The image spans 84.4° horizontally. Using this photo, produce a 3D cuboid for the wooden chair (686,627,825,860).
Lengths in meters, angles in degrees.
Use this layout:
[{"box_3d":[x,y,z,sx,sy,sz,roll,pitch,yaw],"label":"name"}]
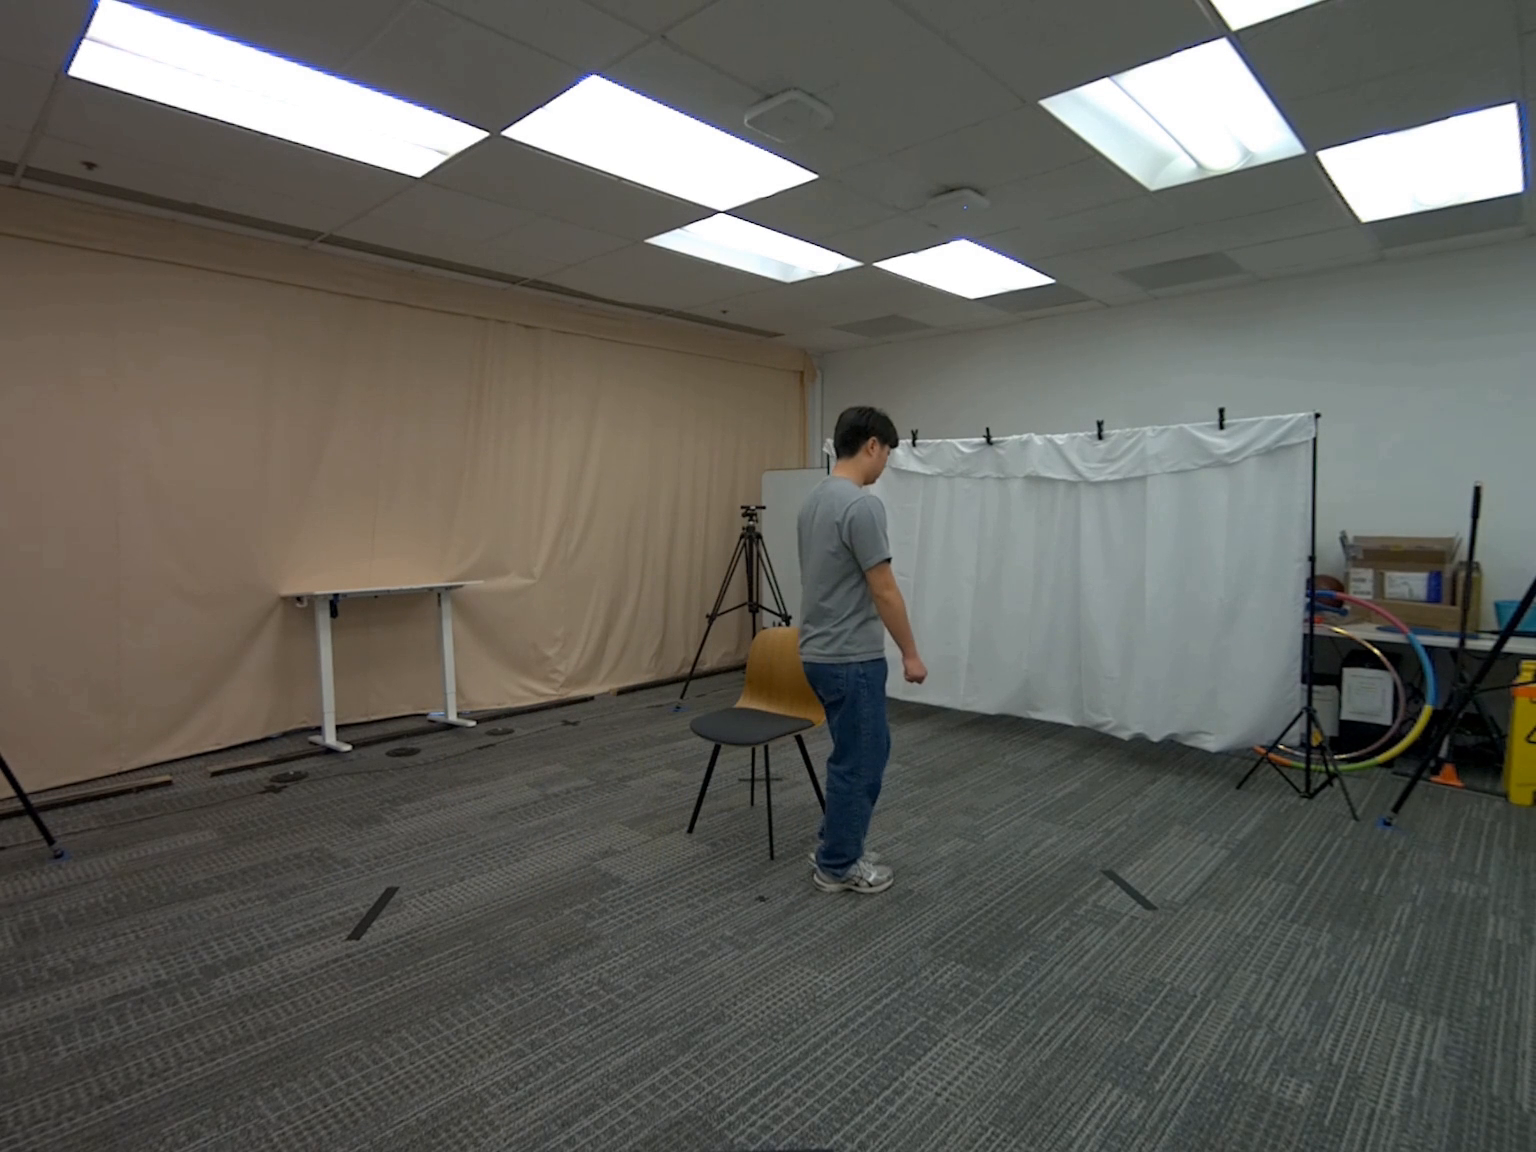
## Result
[{"box_3d":[-0.036,0.666,3.582,0.493,0.877,0.506,2,-1,38],"label":"wooden chair"}]
